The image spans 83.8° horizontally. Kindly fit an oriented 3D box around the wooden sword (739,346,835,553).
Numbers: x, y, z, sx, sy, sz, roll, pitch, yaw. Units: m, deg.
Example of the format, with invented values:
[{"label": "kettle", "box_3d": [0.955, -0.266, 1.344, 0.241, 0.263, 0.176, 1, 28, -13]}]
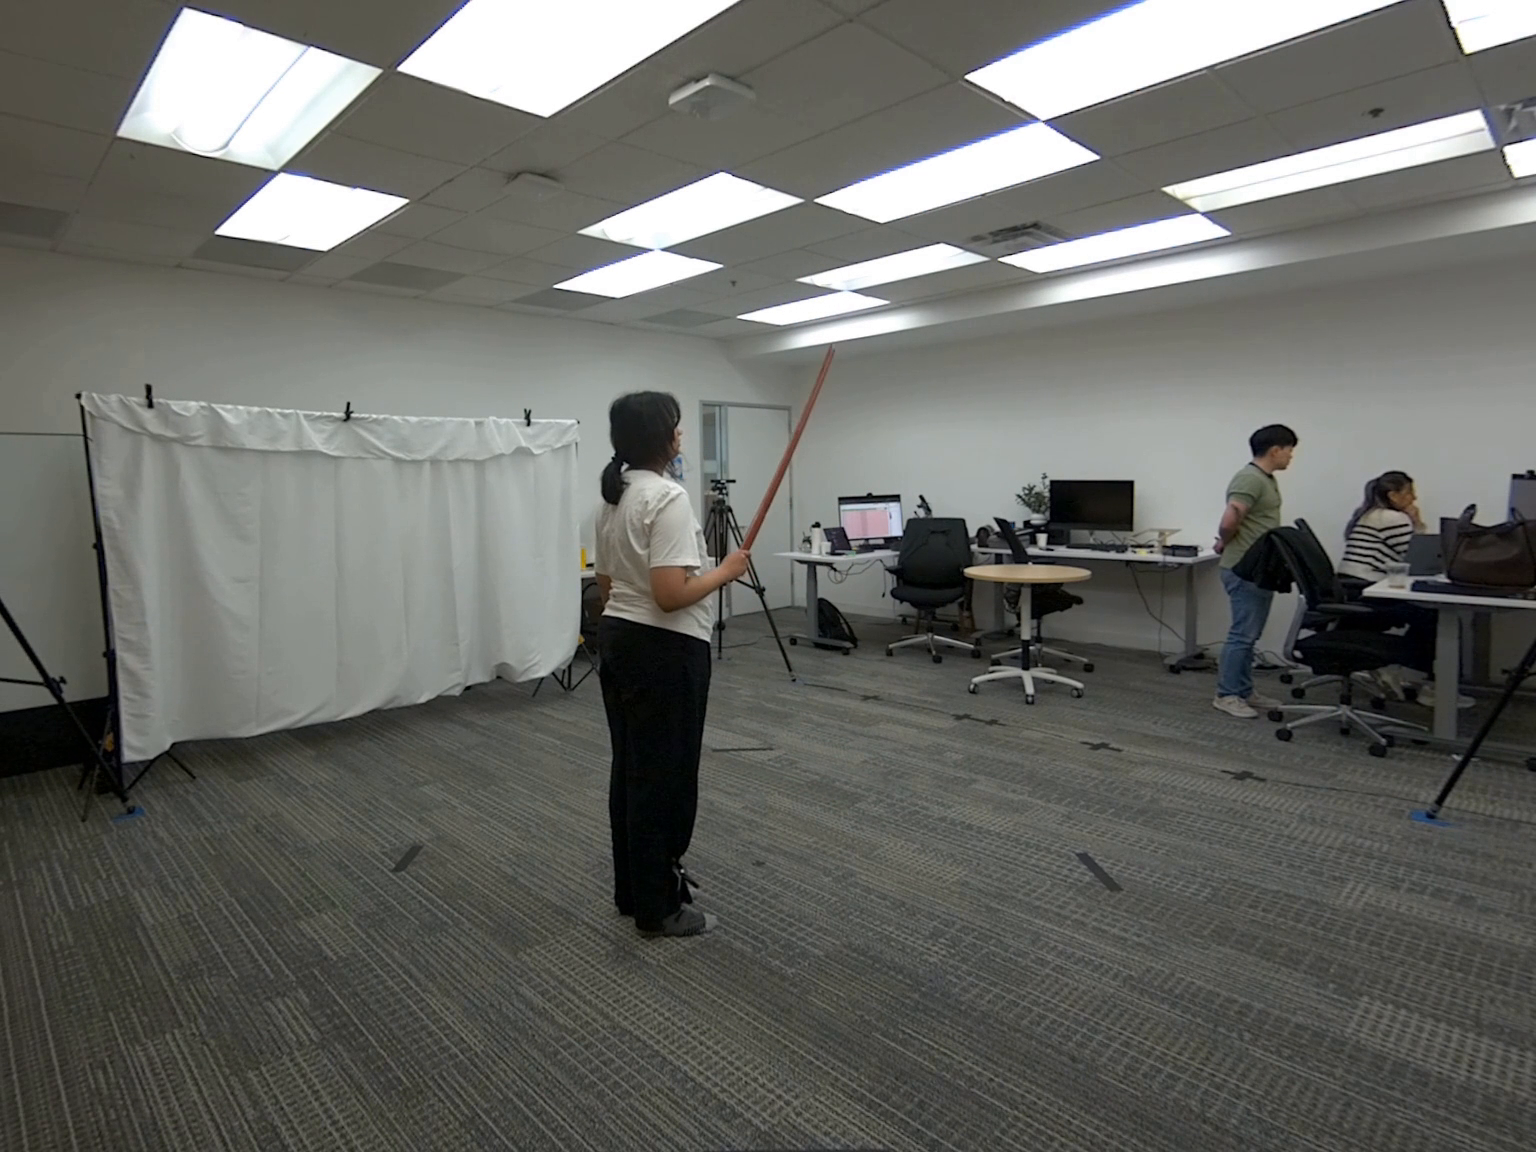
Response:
[{"label": "wooden sword", "box_3d": [0.079, -0.418, 2.902, 0.052, 1.035, 0.023, -8, -40, 47]}]
